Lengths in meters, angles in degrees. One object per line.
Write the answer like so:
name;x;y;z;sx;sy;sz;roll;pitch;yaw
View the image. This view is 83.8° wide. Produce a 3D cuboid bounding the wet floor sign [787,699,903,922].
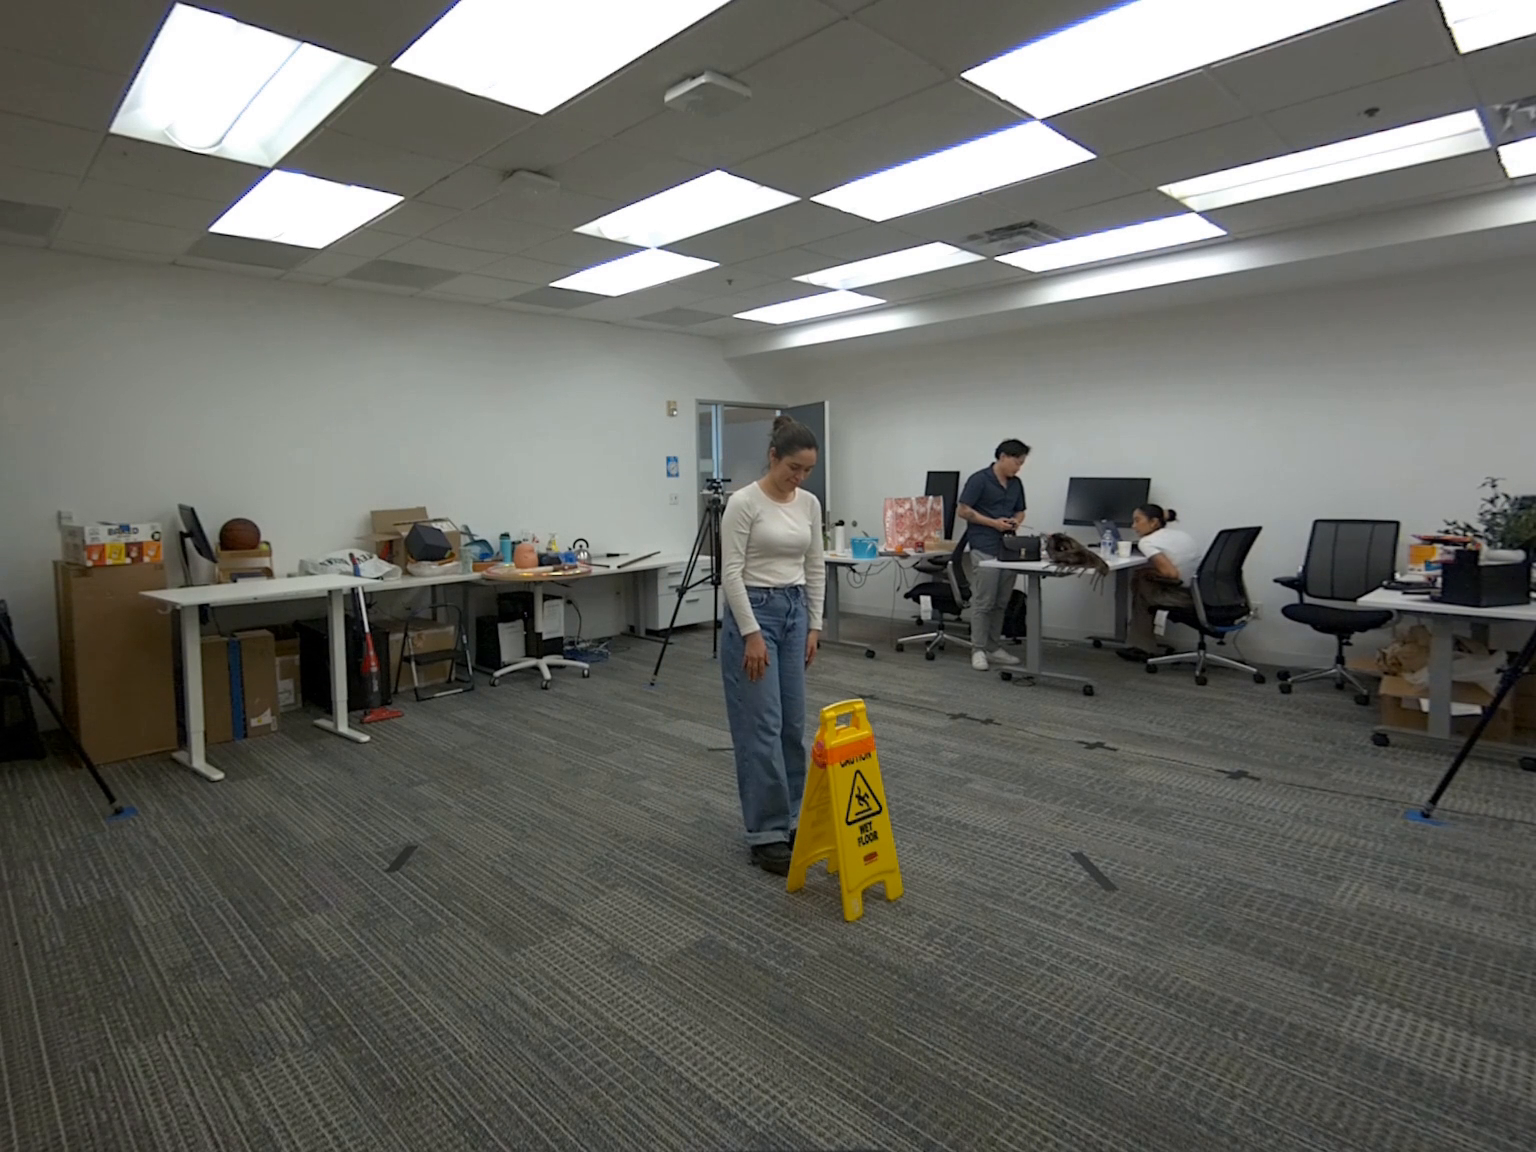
wet floor sign;0.251;0.741;2.855;0.275;0.644;0.298;-4;4;-42
